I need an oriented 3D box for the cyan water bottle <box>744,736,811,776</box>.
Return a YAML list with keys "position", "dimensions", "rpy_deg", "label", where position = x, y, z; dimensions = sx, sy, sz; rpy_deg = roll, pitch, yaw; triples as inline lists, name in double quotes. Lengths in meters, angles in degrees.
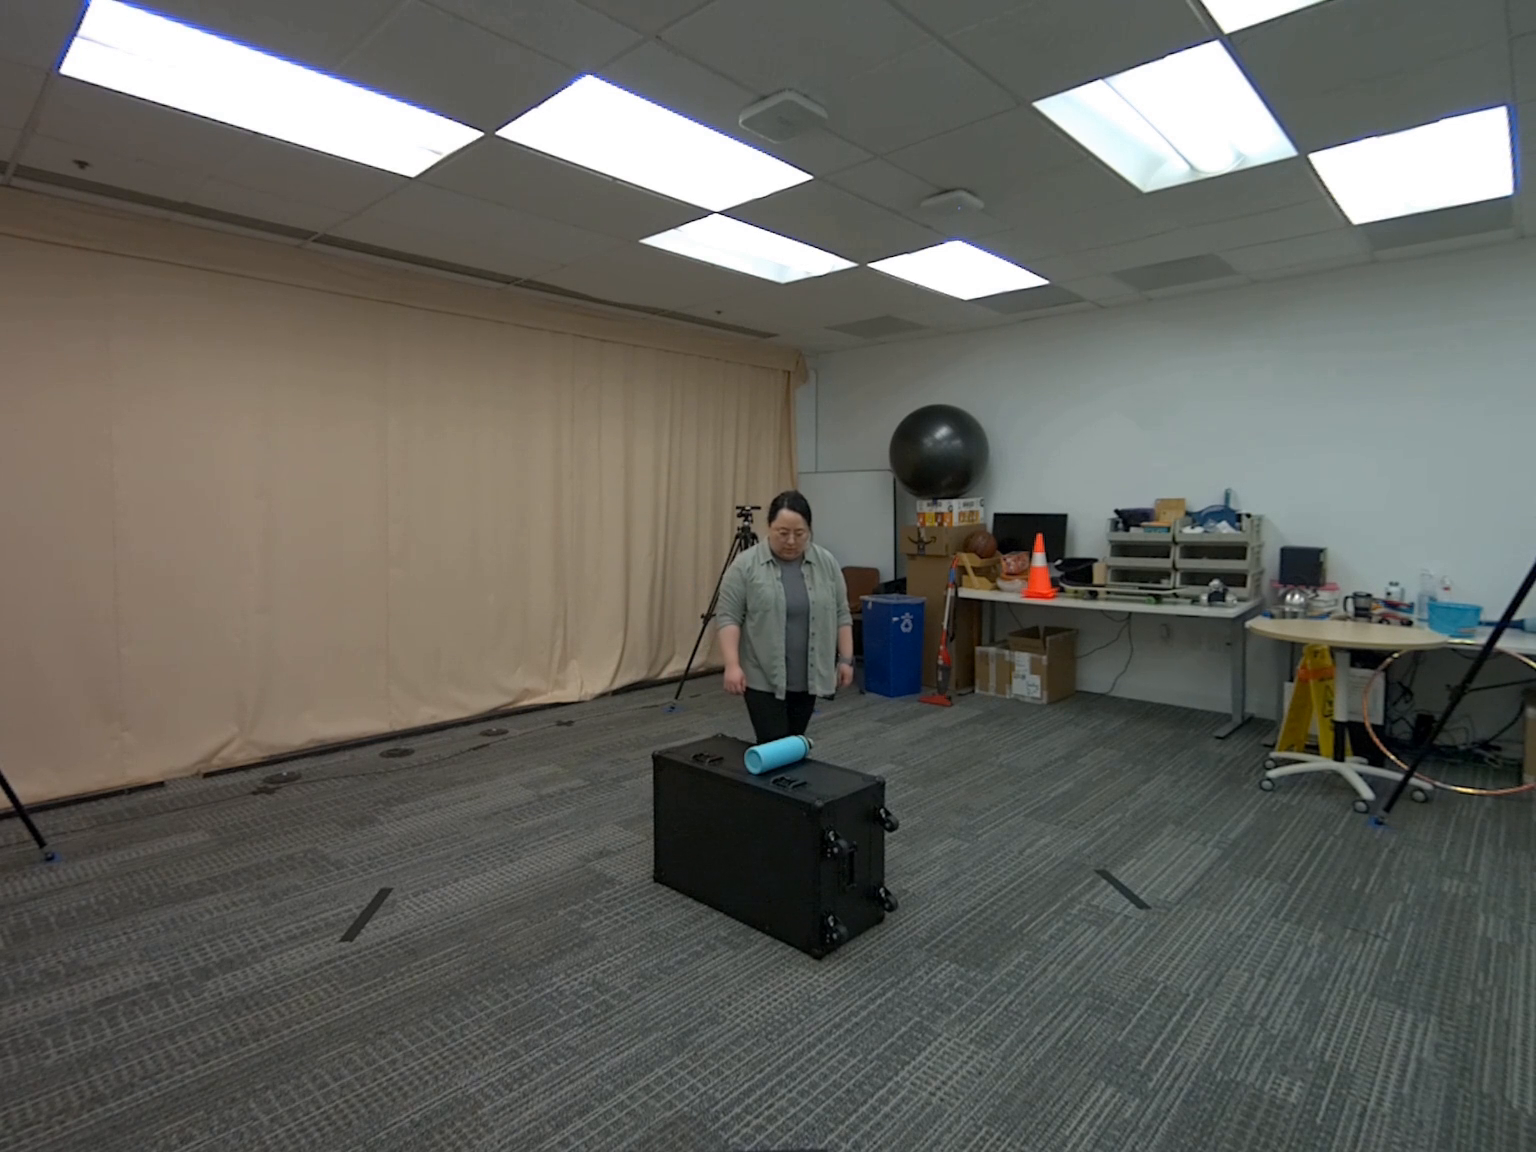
- position: [0.045, 0.612, 2.951]
  dimensions: [0.095, 0.092, 0.275]
  rpy_deg: [4, 6, 44]
  label: "cyan water bottle"
